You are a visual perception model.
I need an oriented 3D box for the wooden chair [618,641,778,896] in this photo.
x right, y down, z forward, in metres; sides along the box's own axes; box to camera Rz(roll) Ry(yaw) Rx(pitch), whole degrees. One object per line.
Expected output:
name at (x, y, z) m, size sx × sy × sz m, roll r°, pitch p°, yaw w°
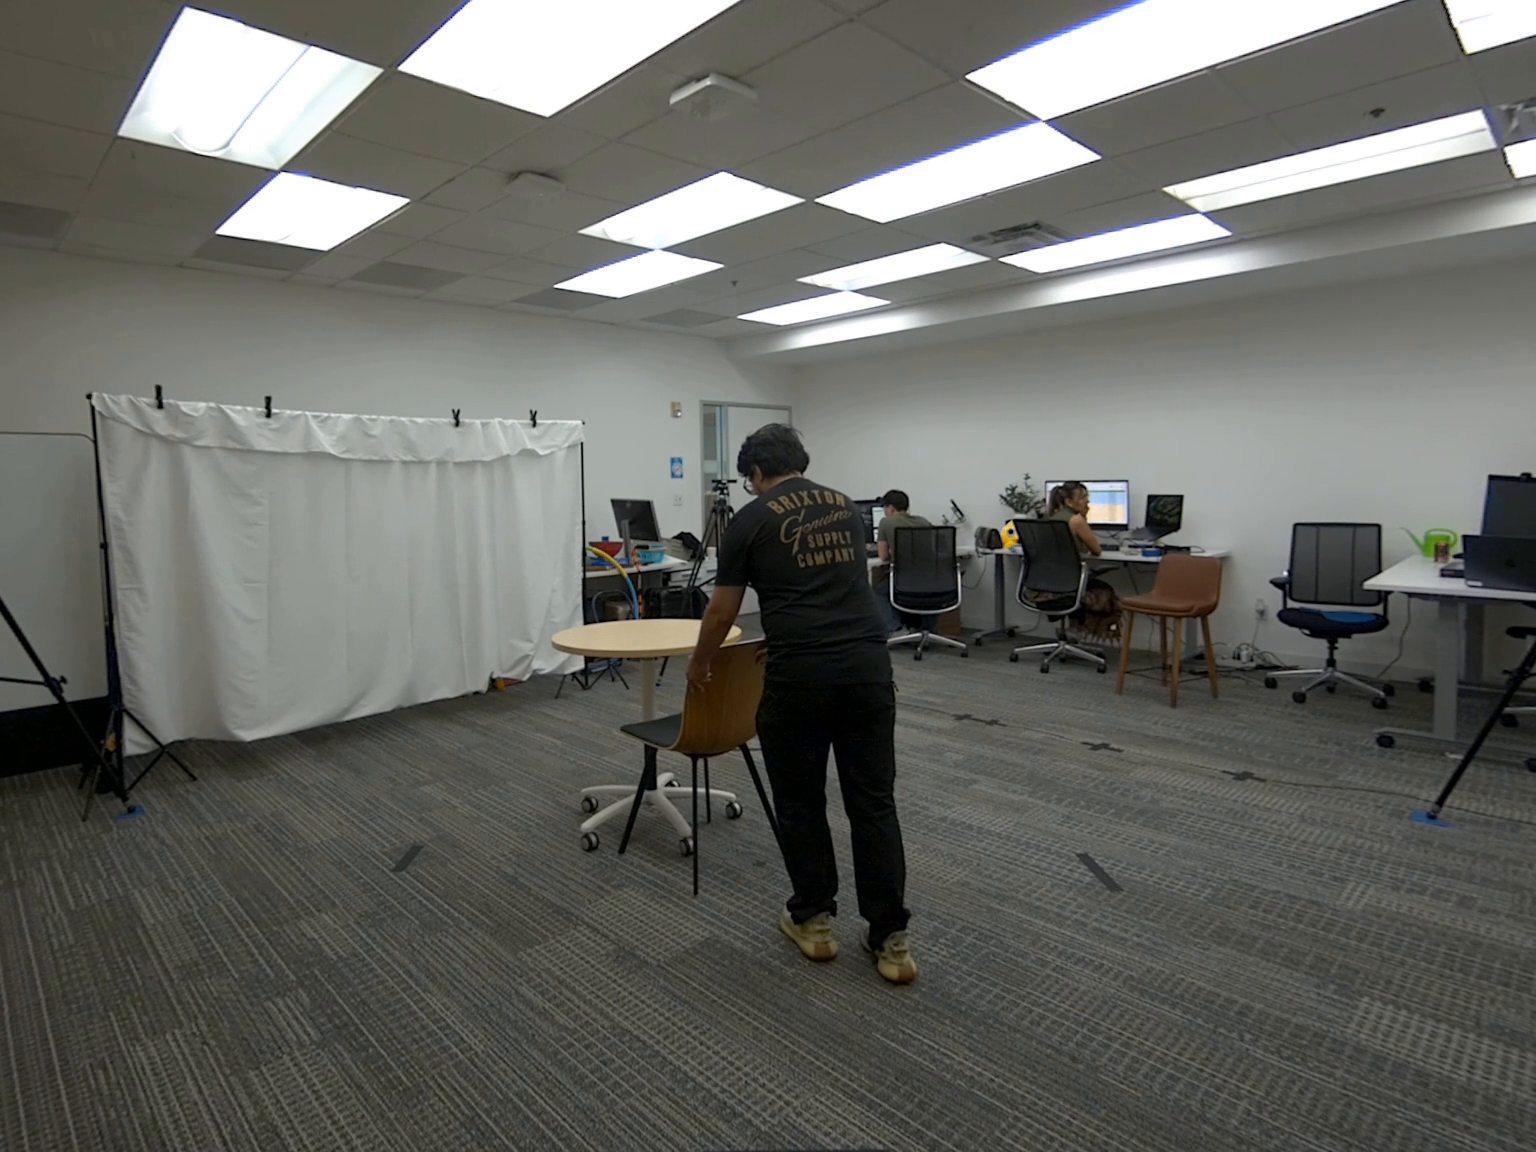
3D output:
wooden chair at (-0.249, 0.617, 3.166) m, size 0.465 × 0.872 × 0.540 m, roll -5°, pitch 10°, yaw -42°
